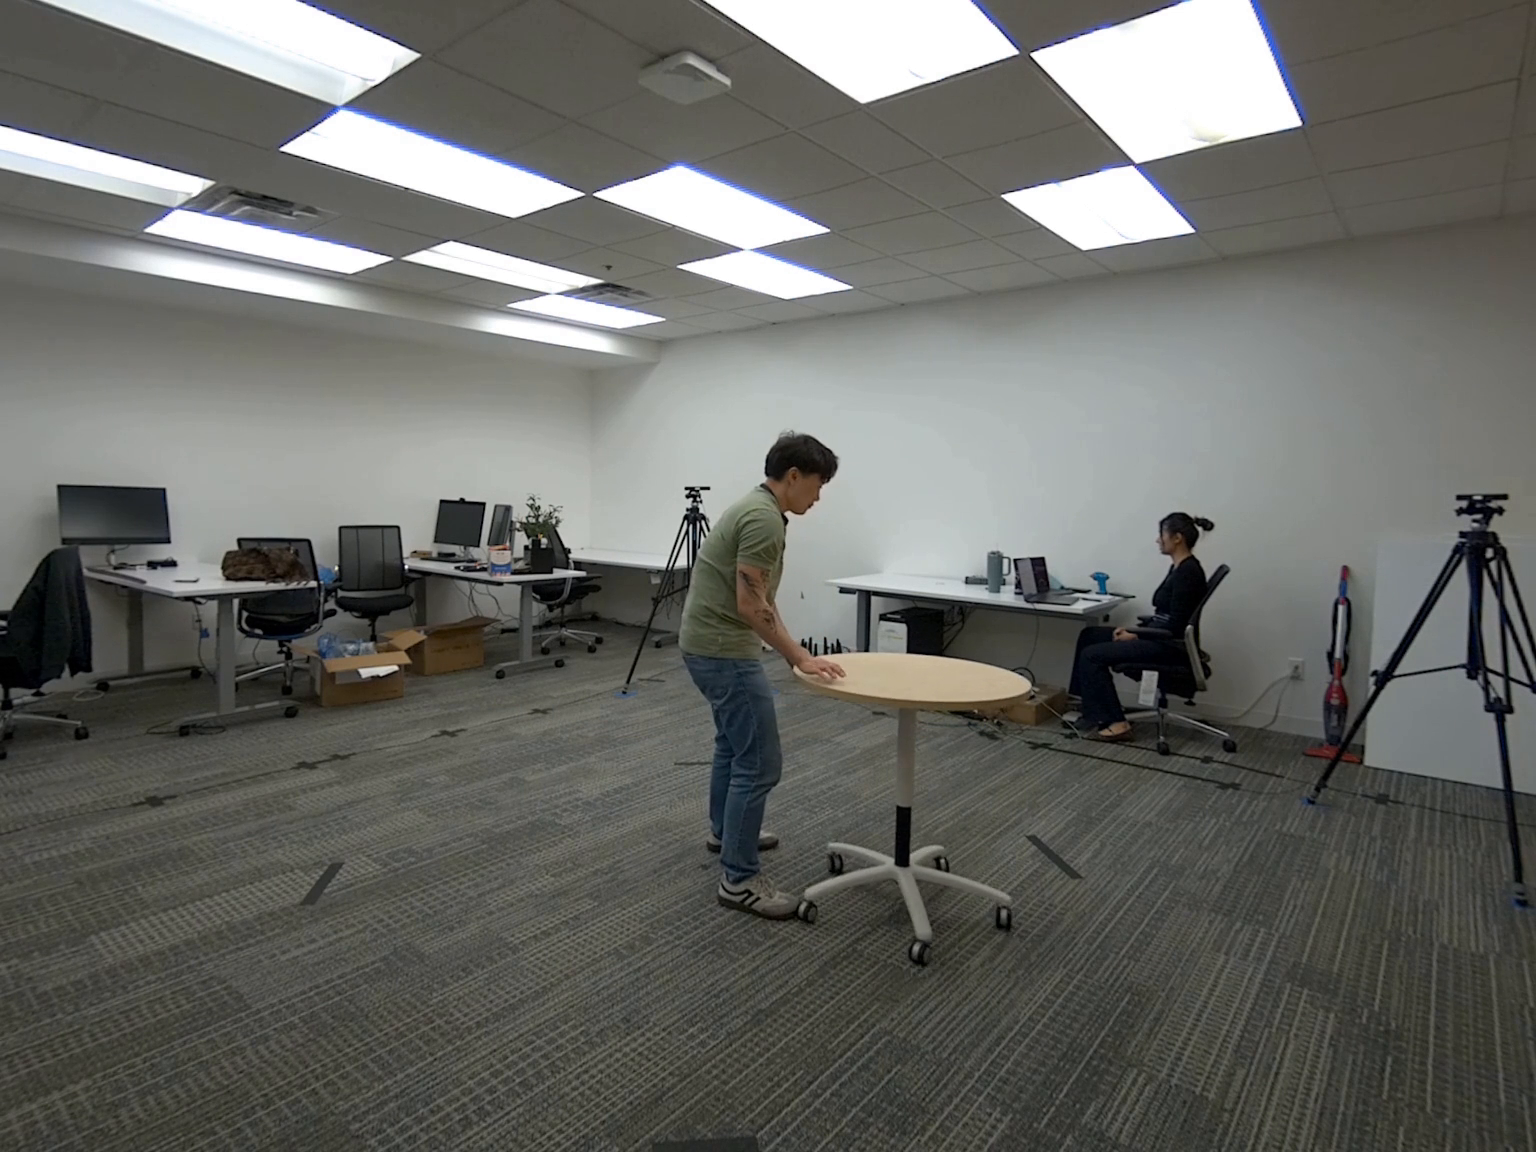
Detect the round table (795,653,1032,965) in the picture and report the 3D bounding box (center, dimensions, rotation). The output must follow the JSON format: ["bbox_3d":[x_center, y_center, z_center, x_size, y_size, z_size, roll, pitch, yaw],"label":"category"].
[{"bbox_3d":[0.441,0.715,2.840,0.763,0.792,0.767,2,4,-2],"label":"round table"}]
